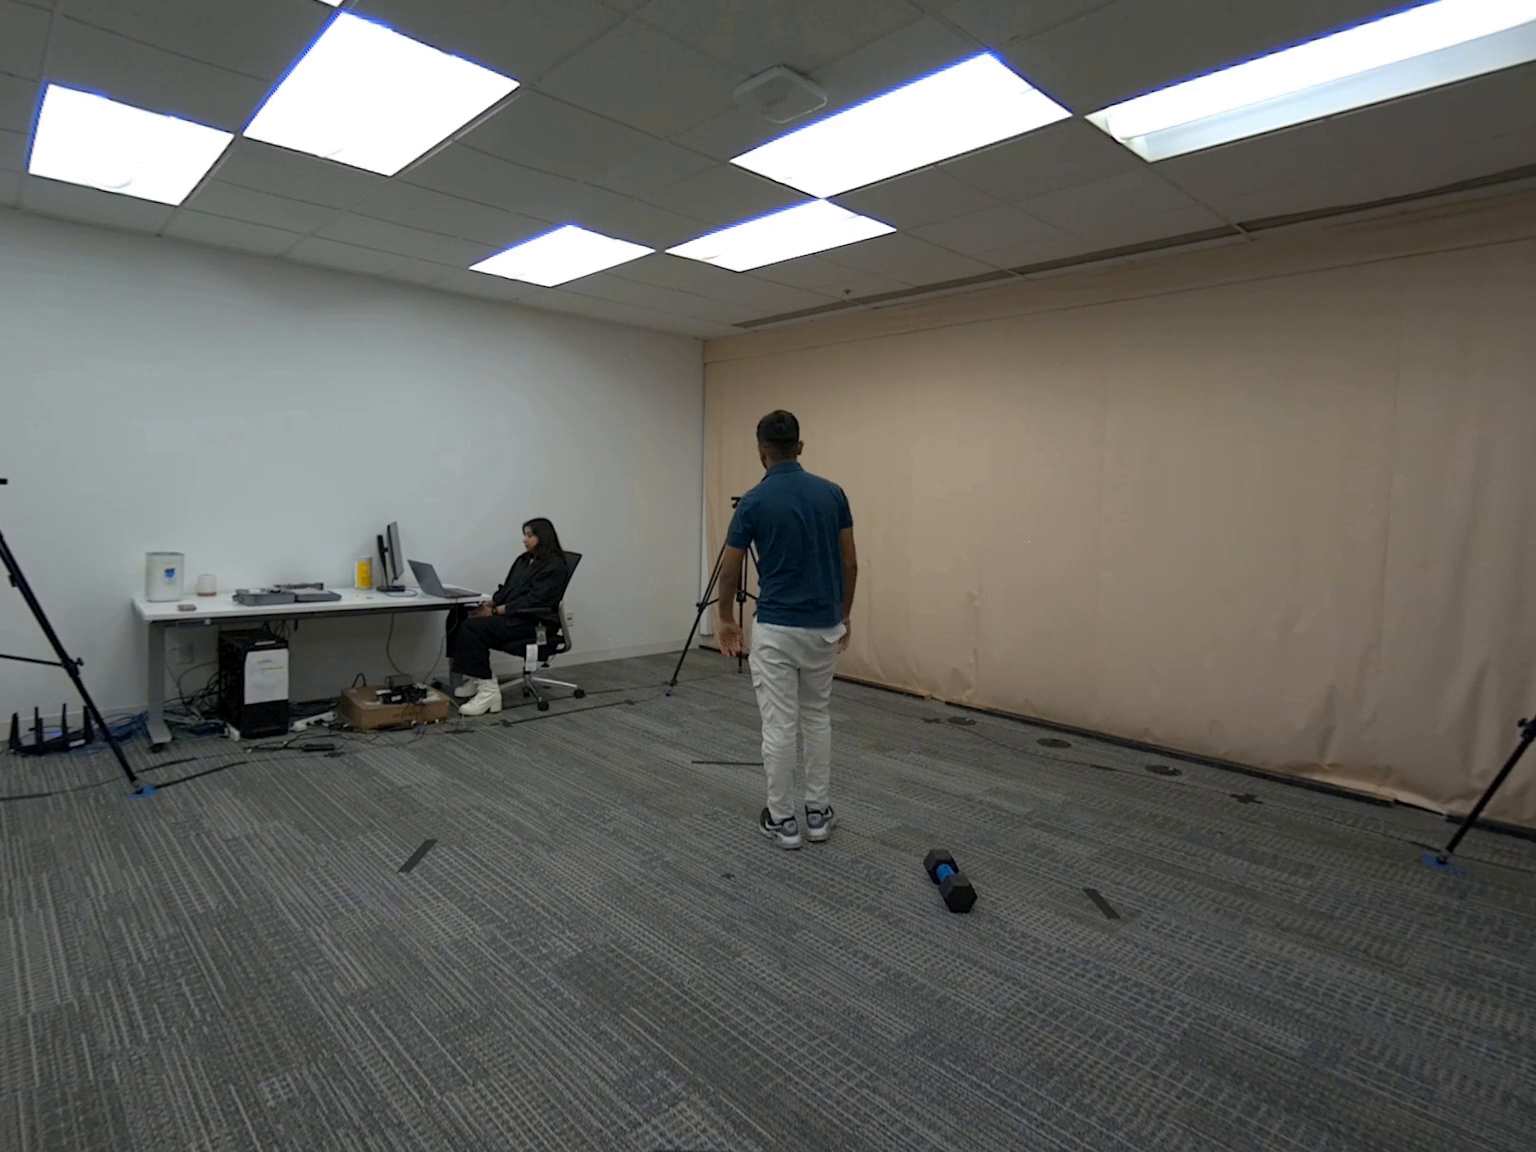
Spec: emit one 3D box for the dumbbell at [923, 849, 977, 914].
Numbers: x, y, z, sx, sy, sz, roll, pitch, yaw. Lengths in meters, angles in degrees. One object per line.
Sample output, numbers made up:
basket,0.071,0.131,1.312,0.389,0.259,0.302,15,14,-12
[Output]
dumbbell,0.637,1.083,3.003,0.109,0.122,0.295,-29,6,-1
